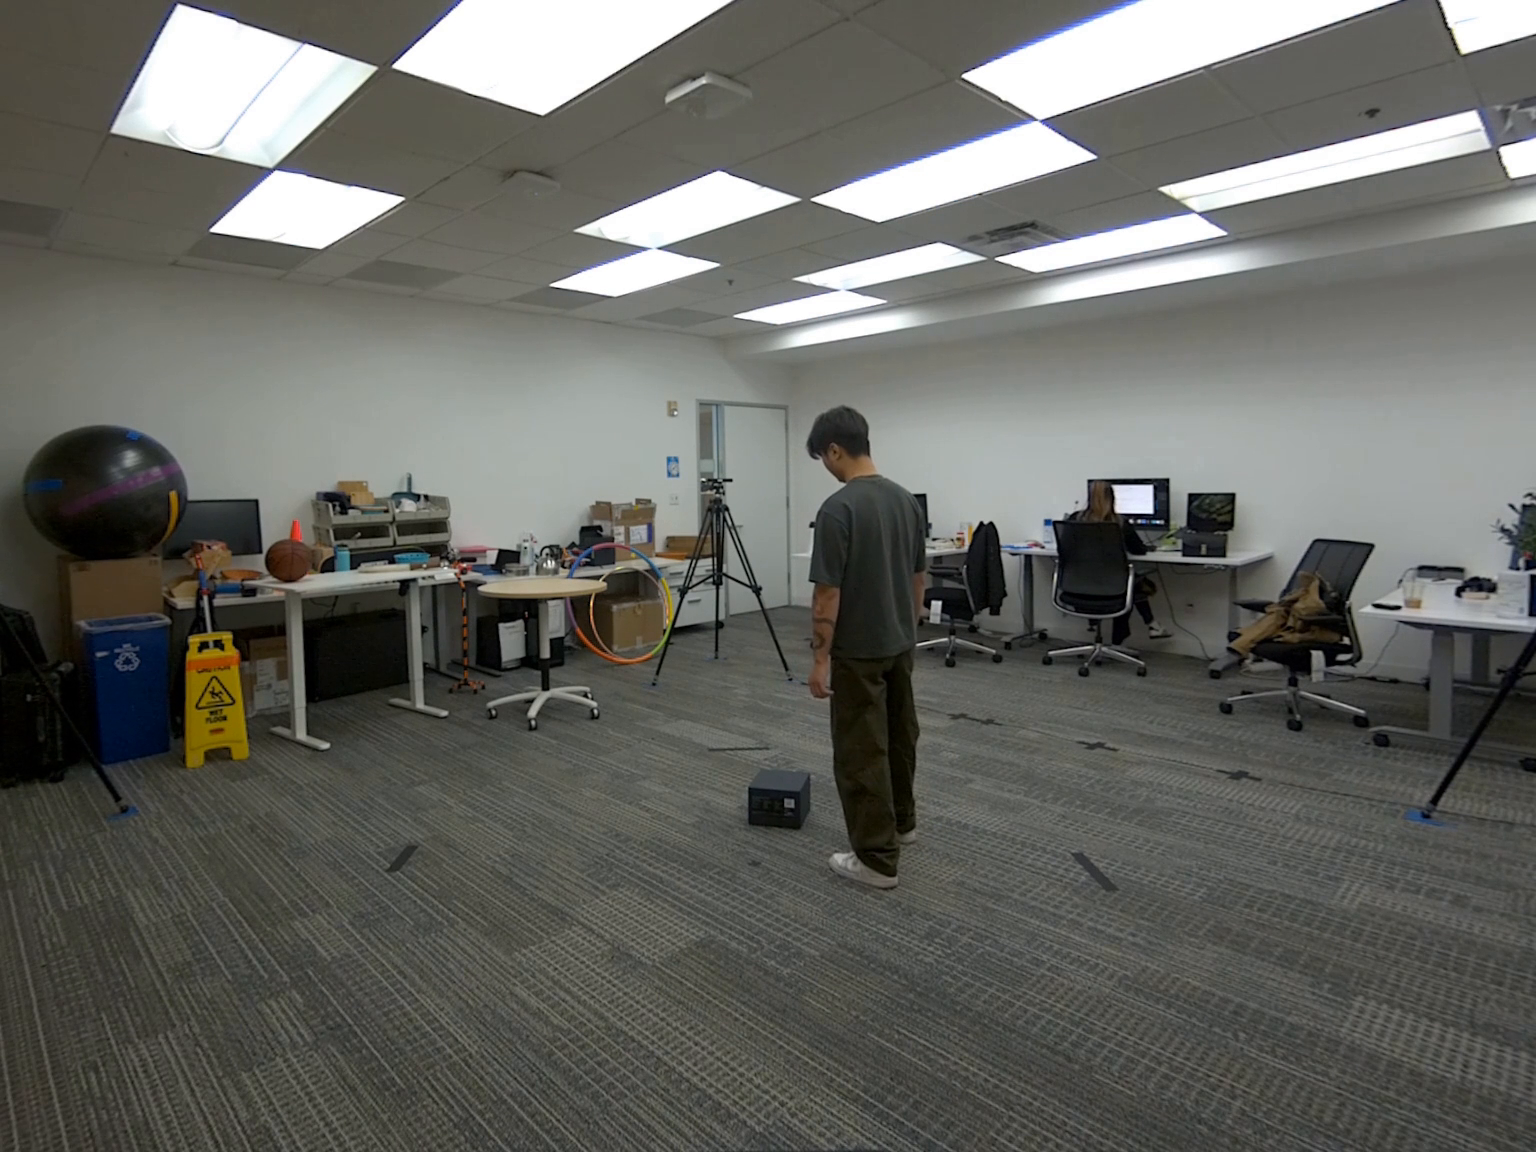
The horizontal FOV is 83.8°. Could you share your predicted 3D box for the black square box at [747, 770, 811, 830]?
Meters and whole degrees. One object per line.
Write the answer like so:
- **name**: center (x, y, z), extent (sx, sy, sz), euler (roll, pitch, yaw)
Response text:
- **black square box**: center (0.048, 0.909, 3.529), extent (0.220, 0.155, 0.225), euler (0, 6, 15)
